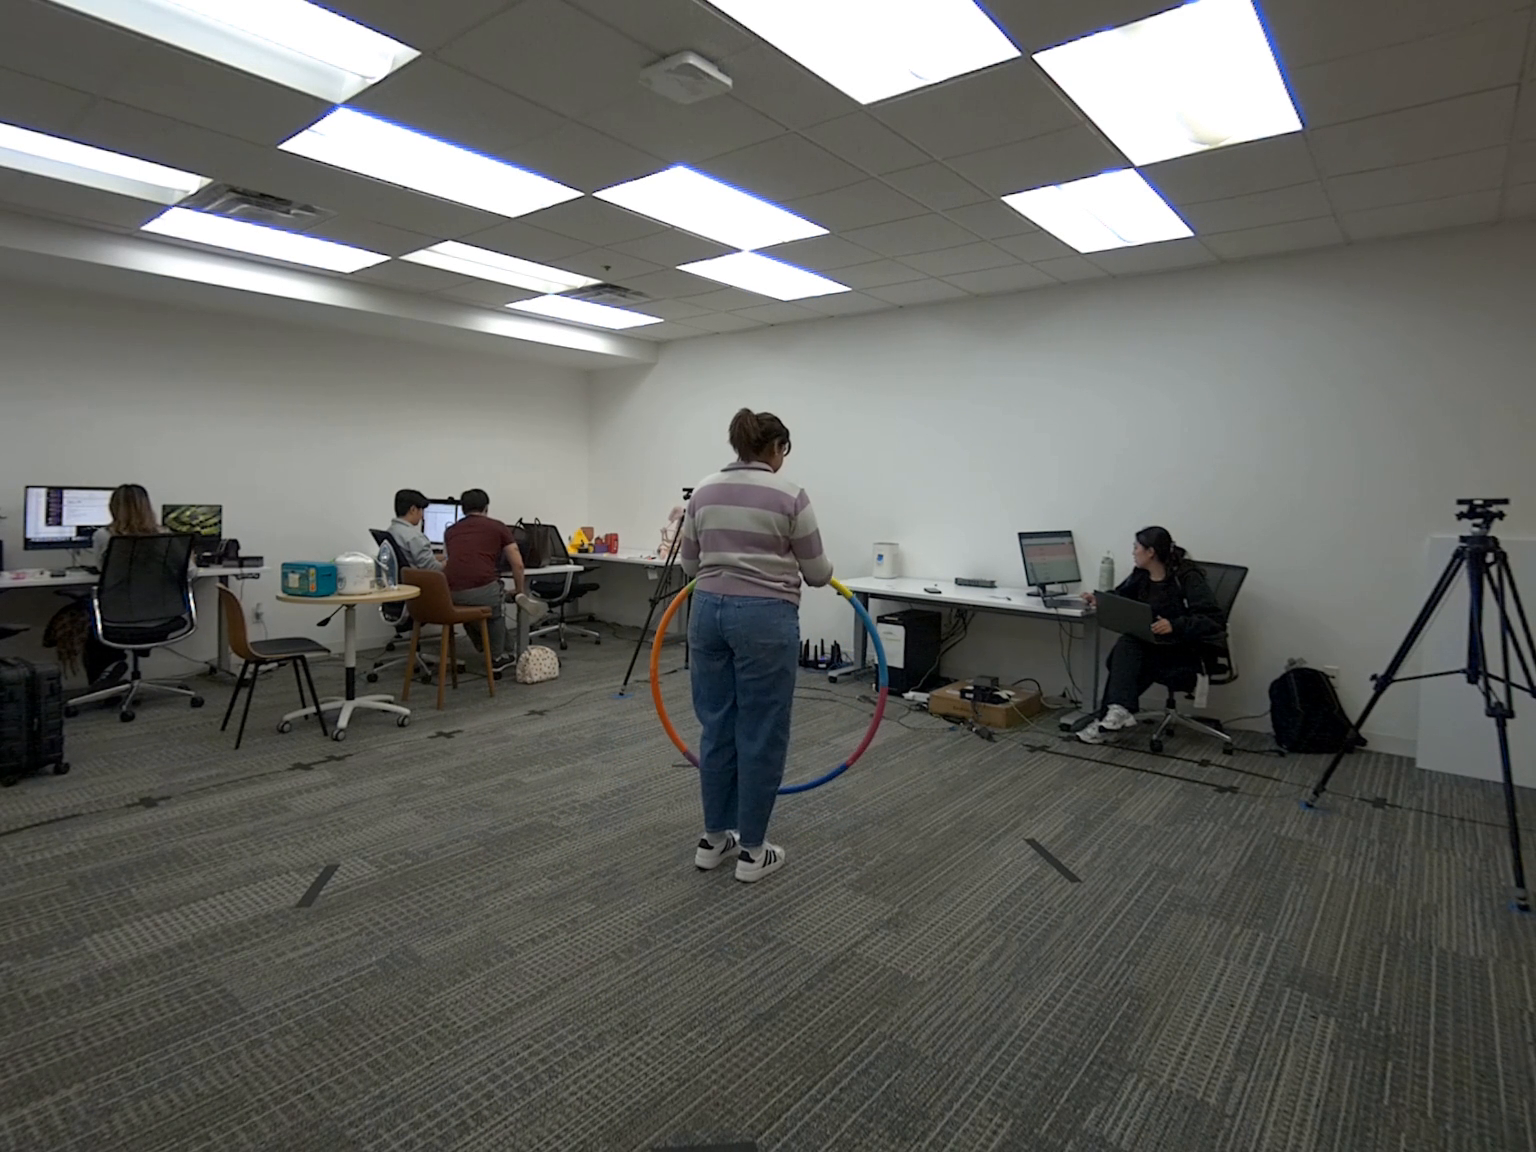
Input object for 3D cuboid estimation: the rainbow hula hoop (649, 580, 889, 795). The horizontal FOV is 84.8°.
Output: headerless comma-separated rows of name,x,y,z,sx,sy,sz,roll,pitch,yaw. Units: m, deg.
rainbow hula hoop,-0.023,0.408,3.482,0.993,0.976,0.035,2,3,13
